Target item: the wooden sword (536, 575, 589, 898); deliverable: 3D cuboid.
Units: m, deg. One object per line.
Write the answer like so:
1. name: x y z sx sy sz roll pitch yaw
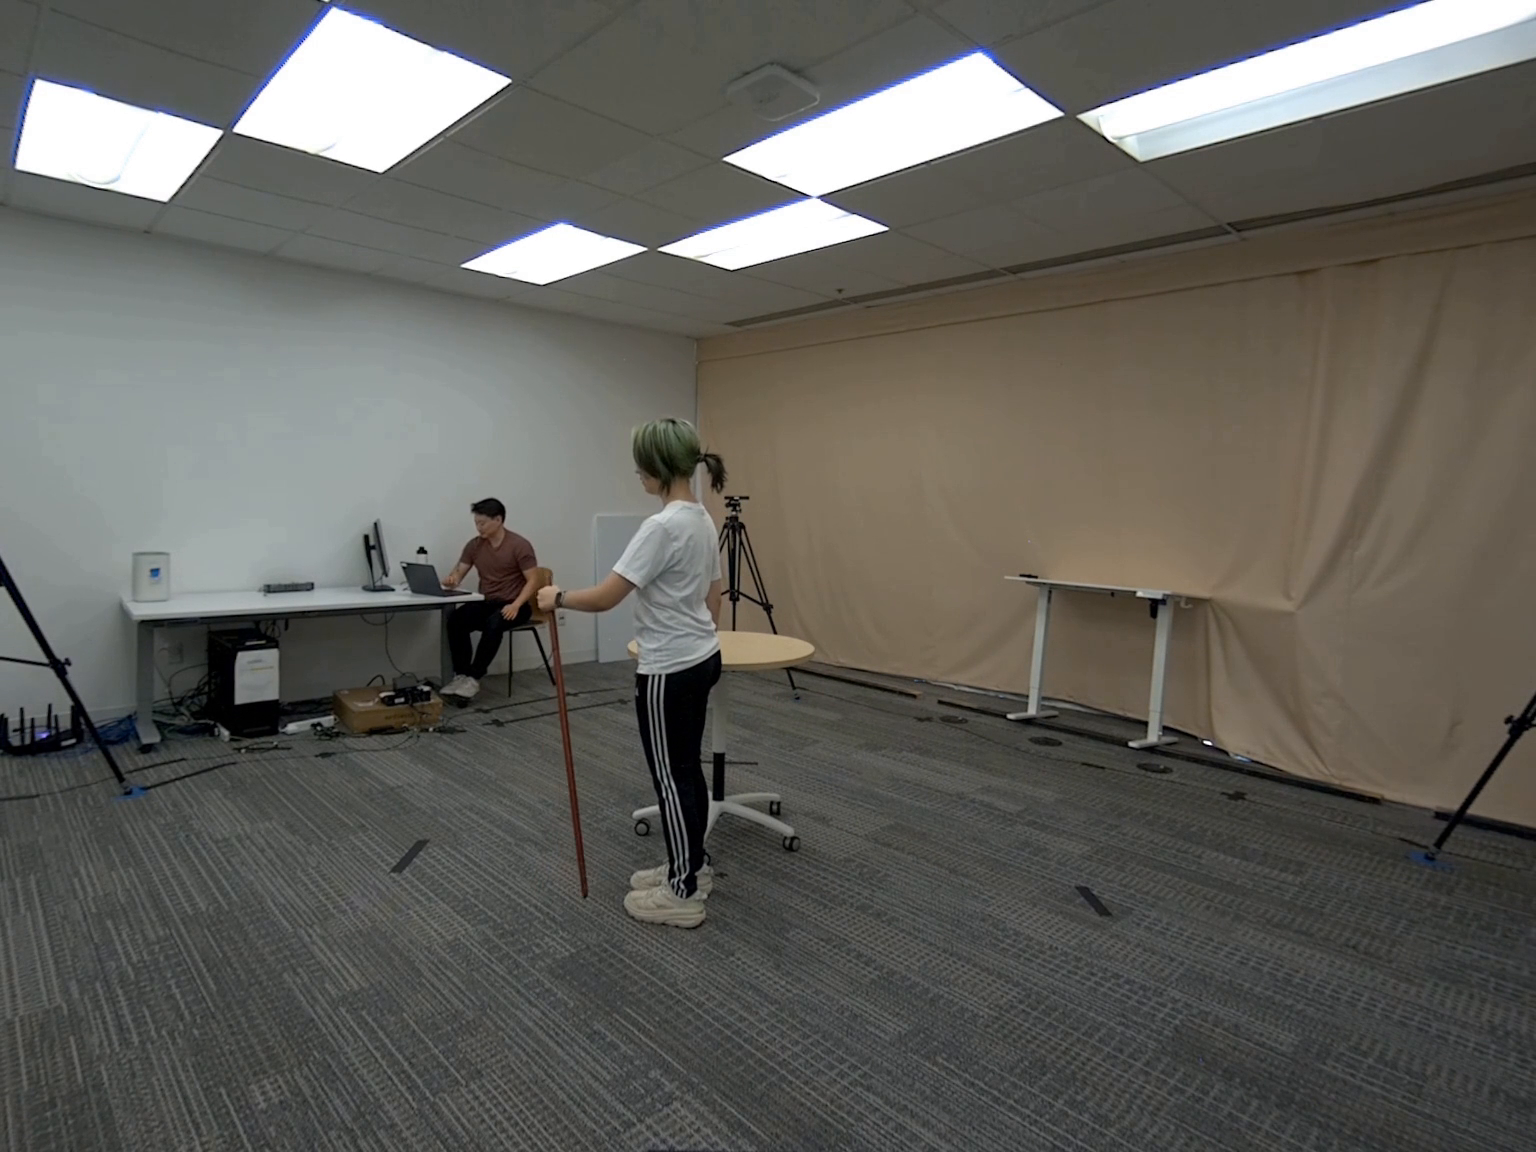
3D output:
1. wooden sword: -0.643 0.509 2.666 0.024 1.043 0.050 -24 -24 27
